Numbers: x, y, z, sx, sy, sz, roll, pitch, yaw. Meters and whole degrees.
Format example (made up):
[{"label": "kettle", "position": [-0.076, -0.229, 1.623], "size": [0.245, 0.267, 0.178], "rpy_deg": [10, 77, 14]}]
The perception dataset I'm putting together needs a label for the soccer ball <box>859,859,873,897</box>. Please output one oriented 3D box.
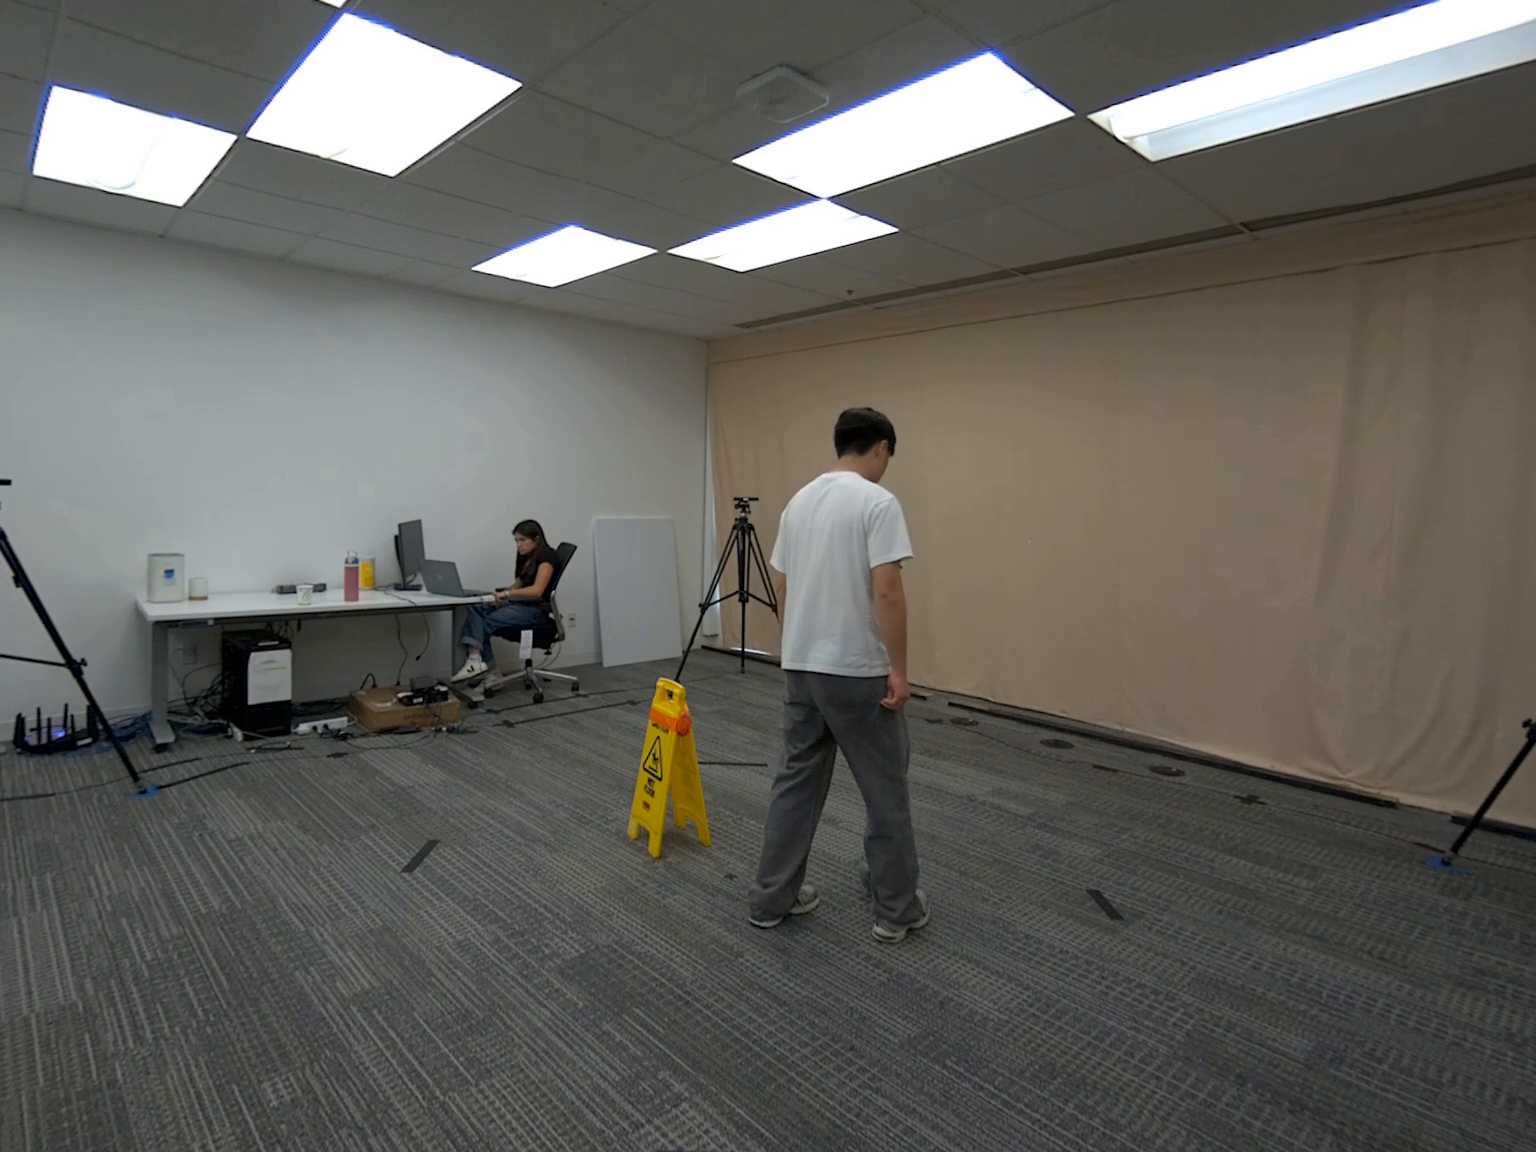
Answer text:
[{"label": "soccer ball", "position": [0.415, 1.049, 2.965], "size": [0.187, 0.187, 0.188], "rpy_deg": [1, 4, -1]}]
